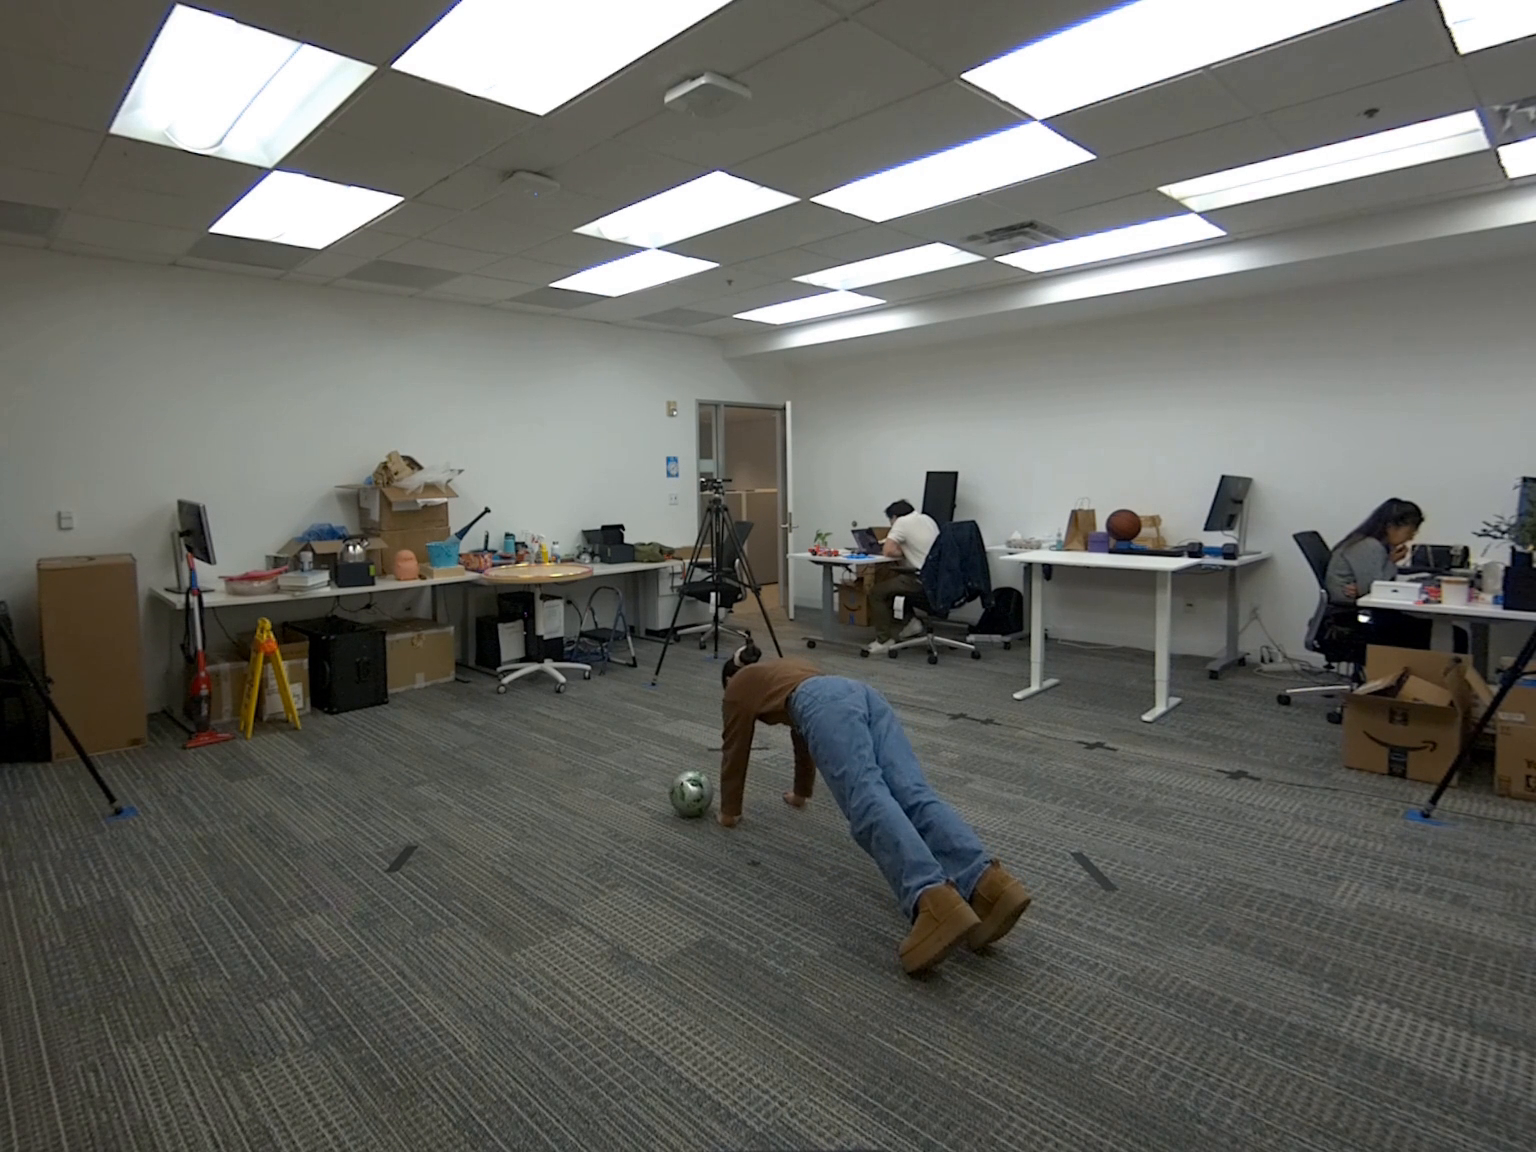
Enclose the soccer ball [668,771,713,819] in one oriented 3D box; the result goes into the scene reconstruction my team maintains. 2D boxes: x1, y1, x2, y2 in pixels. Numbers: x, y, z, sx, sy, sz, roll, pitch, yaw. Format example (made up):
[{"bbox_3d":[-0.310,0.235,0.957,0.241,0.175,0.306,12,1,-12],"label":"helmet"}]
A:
[{"bbox_3d":[-0.318,0.911,3.564,0.187,0.187,0.188,-1,5,-2],"label":"soccer ball"}]
